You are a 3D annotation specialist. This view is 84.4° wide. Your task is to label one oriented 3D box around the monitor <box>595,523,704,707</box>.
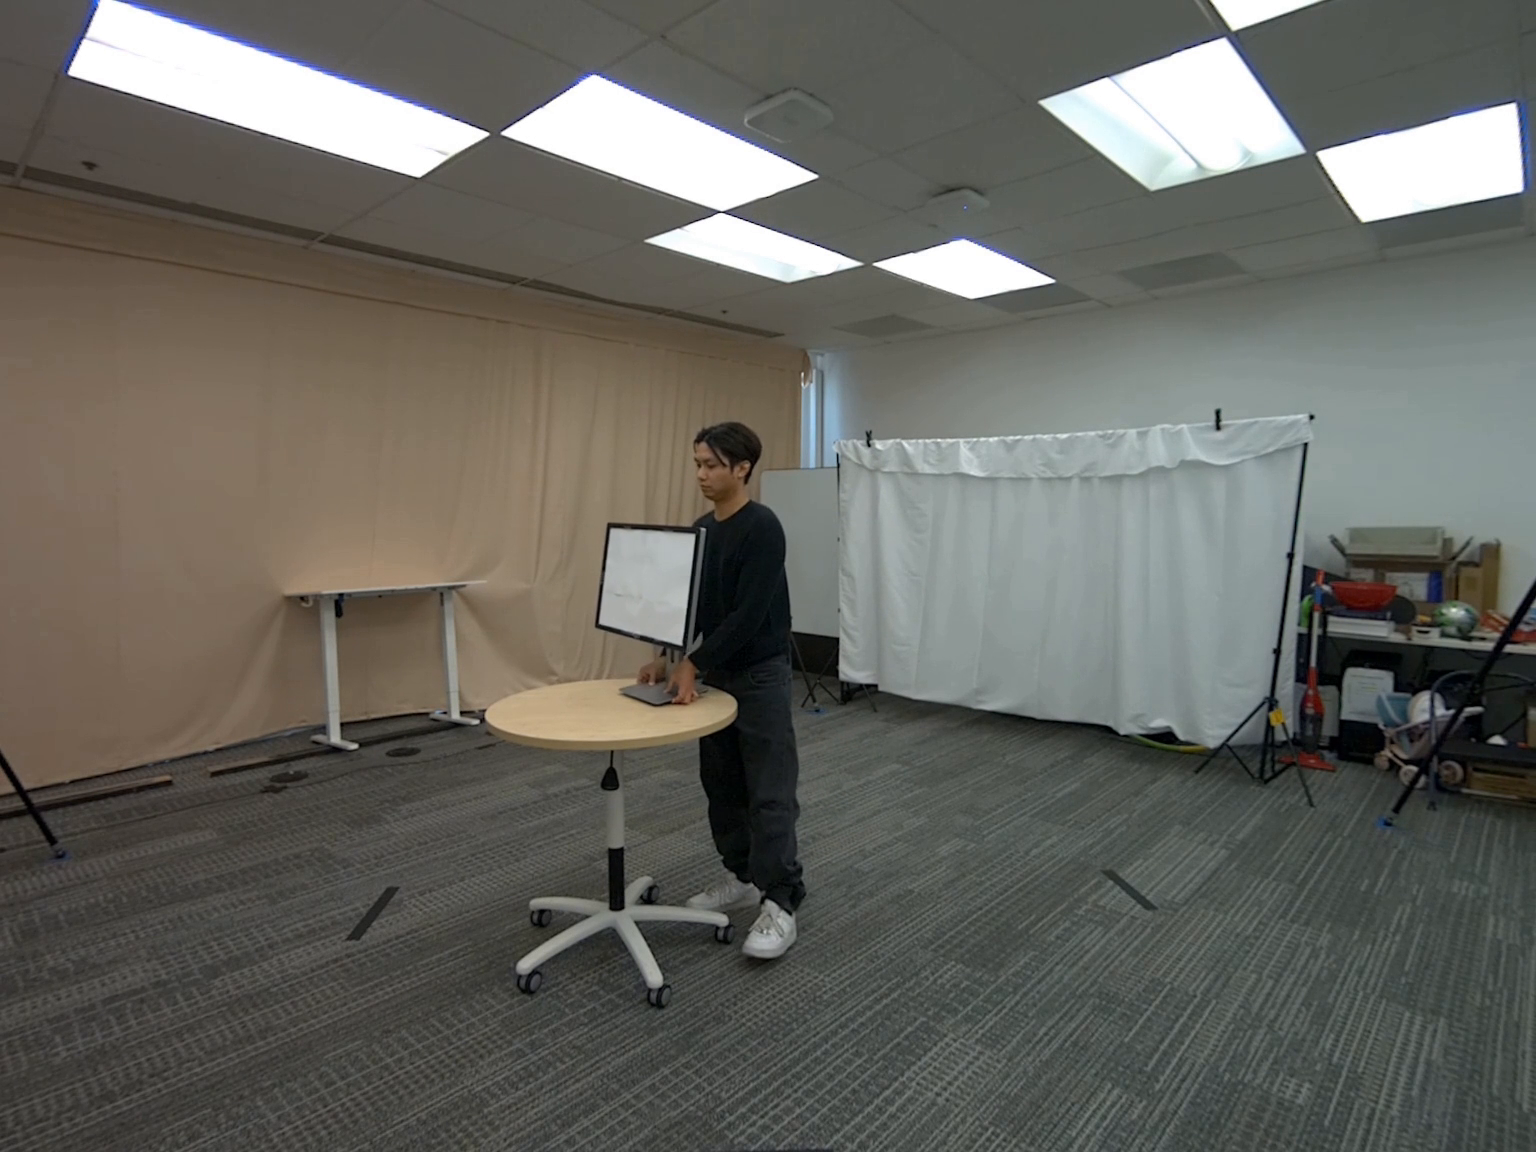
[{"bbox_3d":[-0.353,0.110,2.692,0.181,0.521,0.557,-6,7,-42],"label":"monitor"}]
